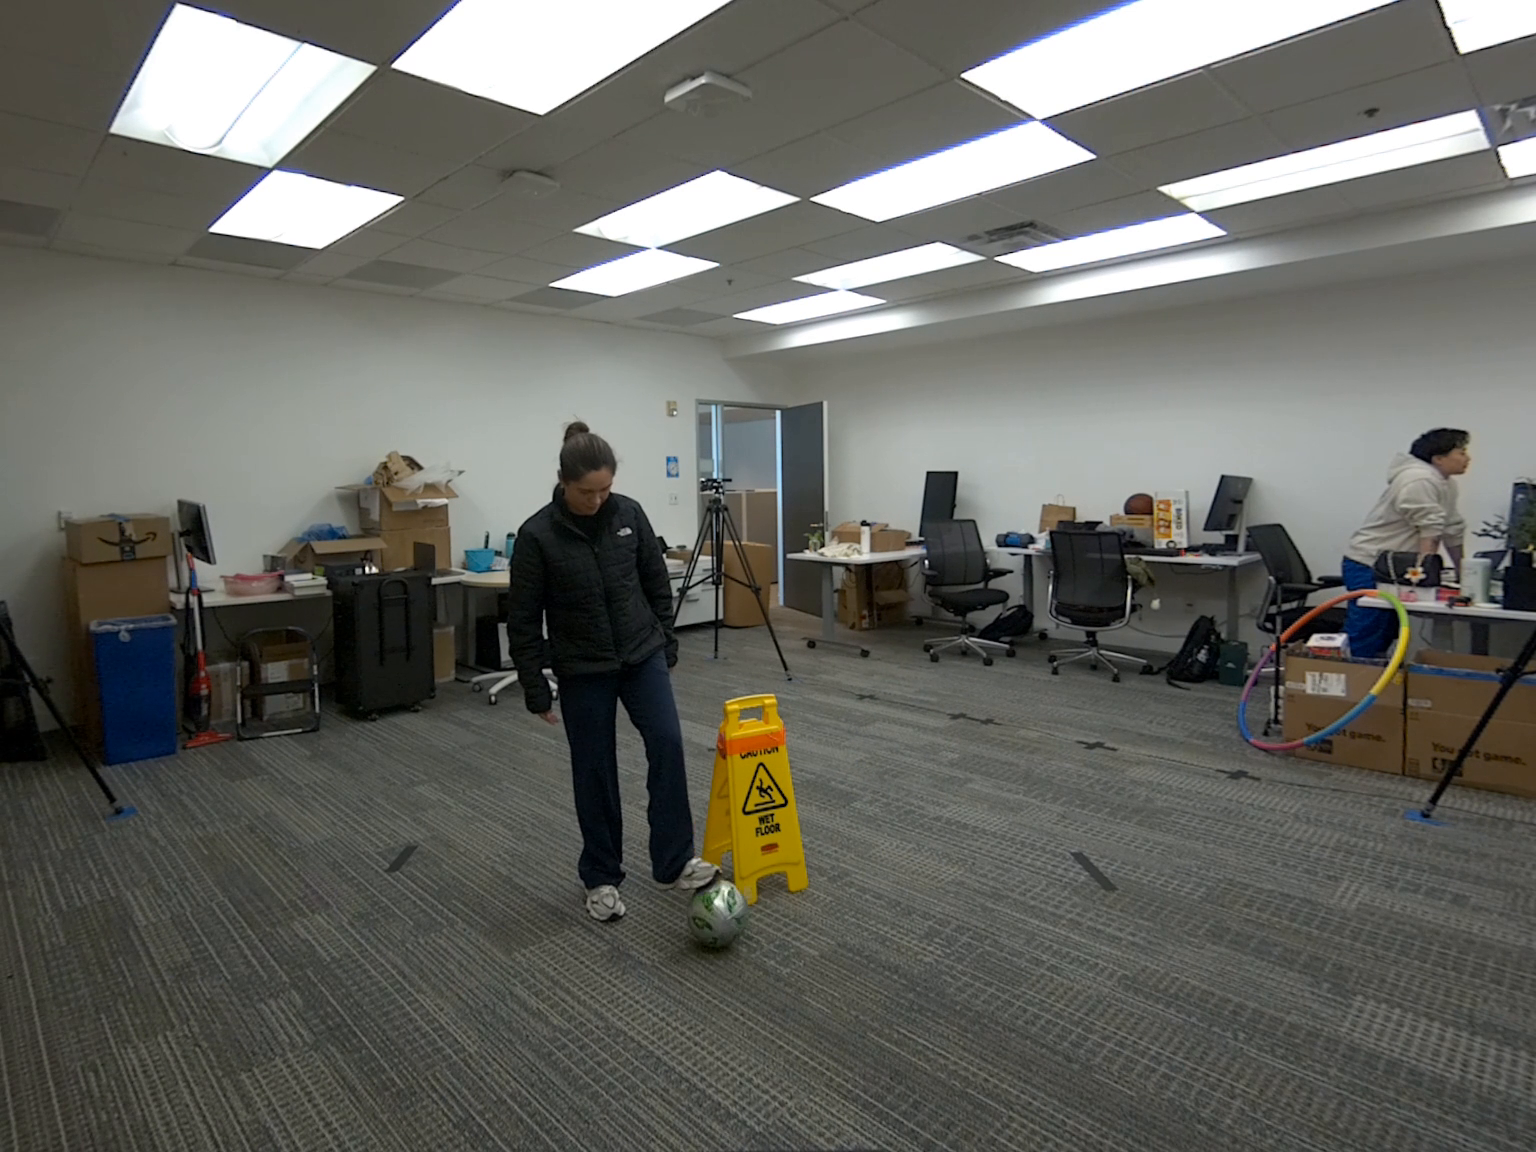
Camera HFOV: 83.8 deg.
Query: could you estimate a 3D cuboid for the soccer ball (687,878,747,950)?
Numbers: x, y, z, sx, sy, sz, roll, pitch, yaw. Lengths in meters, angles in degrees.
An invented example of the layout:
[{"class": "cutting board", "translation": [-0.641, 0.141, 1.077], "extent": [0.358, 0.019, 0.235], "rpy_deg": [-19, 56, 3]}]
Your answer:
[{"class": "soccer ball", "translation": [-0.151, 1.020, 2.577], "extent": [0.187, 0.187, 0.188], "rpy_deg": [-1, 5, -2]}]
